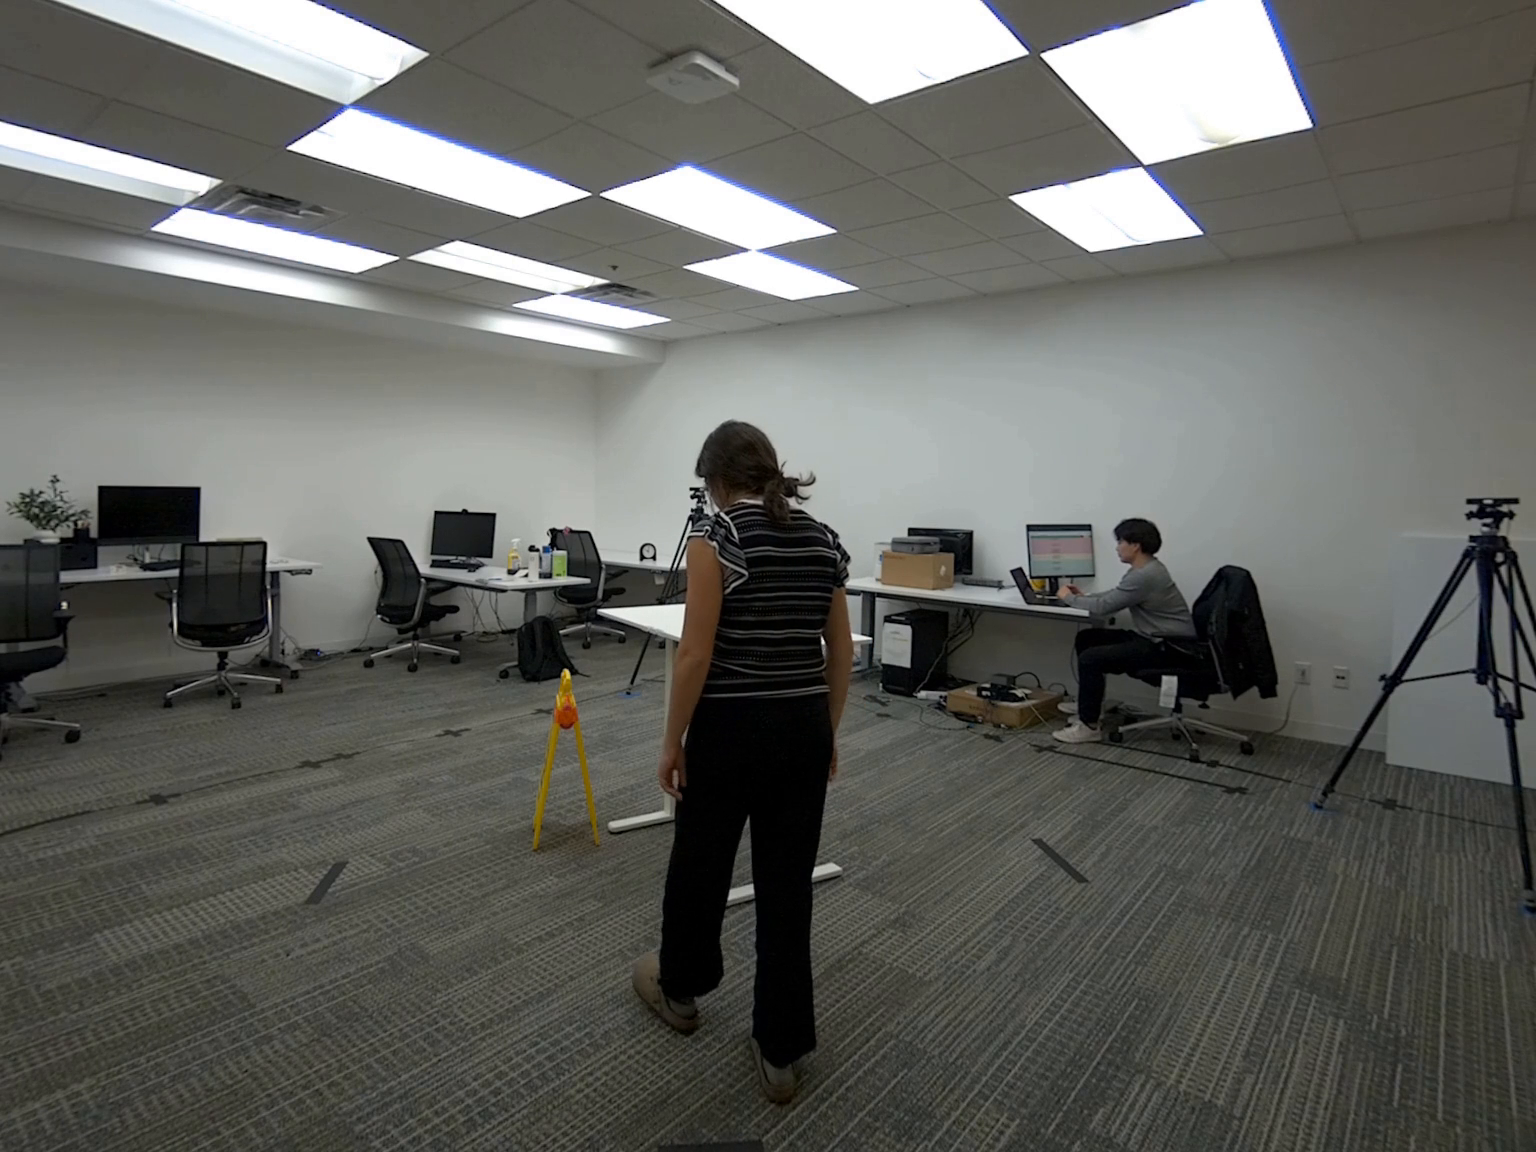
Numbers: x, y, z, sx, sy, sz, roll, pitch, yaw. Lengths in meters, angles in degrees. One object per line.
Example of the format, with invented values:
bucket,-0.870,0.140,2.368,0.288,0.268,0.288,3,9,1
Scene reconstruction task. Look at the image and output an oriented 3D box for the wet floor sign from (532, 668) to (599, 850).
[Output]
wet floor sign,-0.824,0.707,3.388,0.286,0.644,0.287,-1,3,-14
